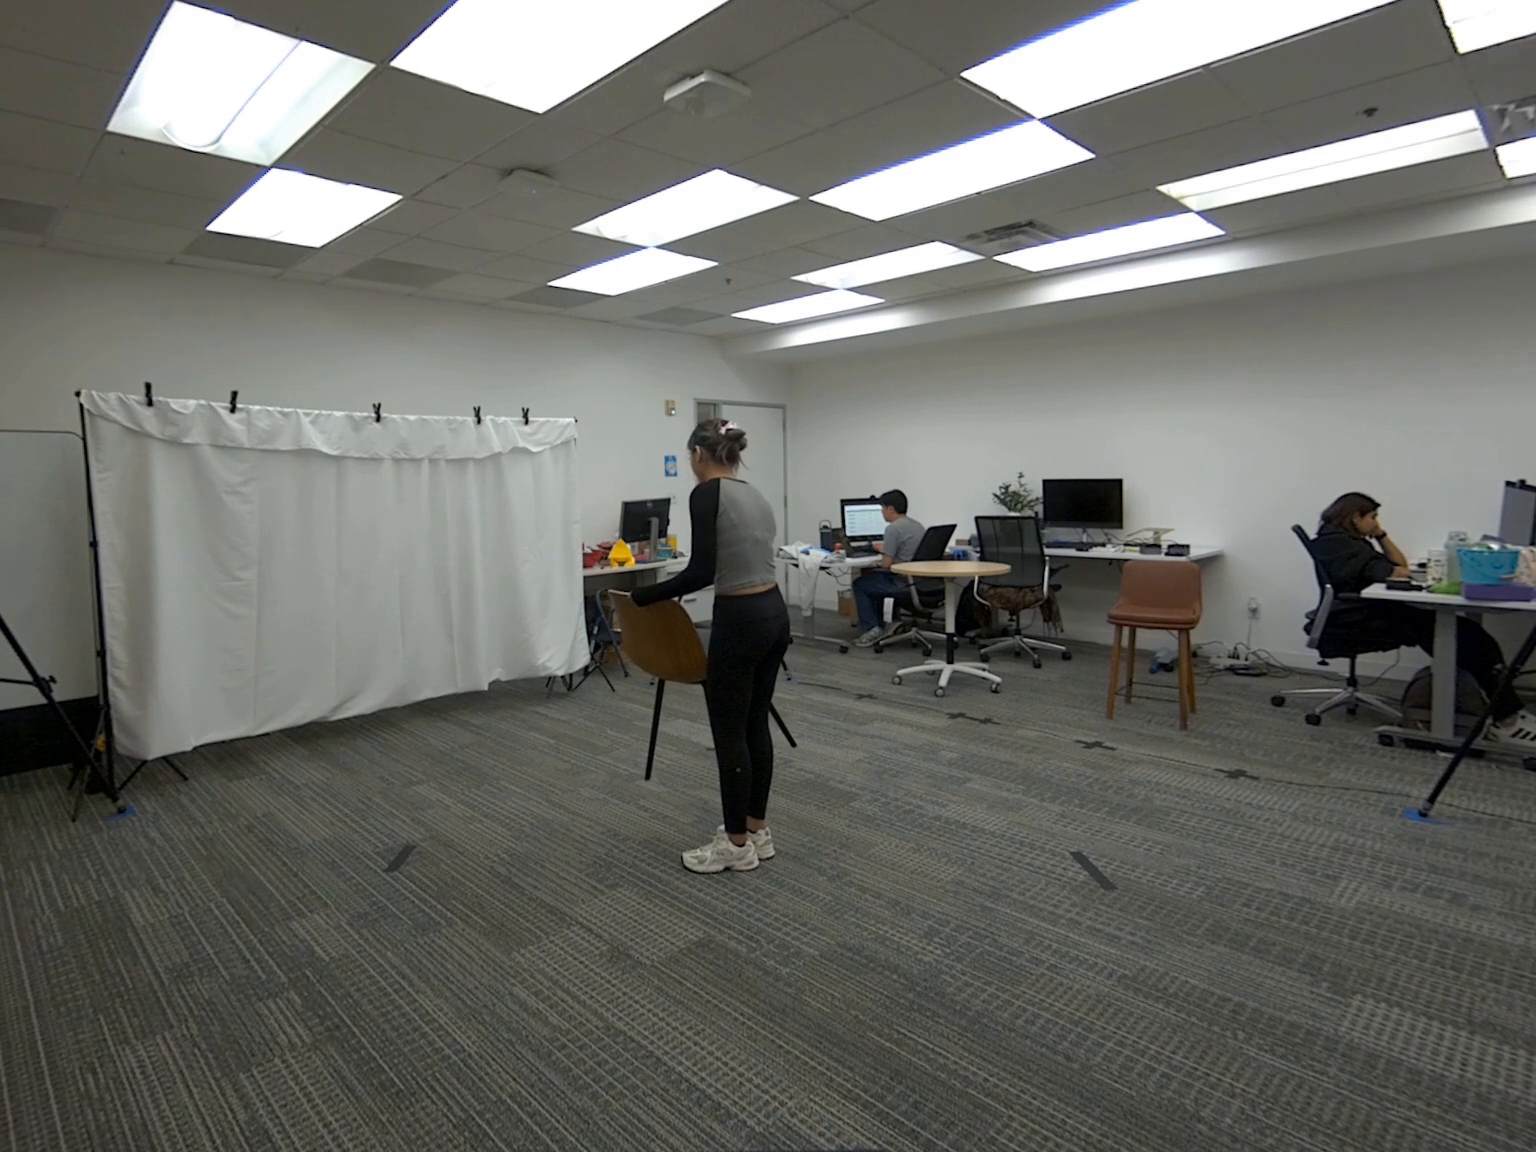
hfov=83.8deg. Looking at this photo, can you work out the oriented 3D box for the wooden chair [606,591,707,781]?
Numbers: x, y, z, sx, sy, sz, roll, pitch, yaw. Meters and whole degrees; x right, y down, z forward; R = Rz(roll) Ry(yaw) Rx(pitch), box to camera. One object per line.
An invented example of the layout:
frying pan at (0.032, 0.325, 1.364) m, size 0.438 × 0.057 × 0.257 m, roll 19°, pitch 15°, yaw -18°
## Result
wooden chair at (-0.269, 0.366, 3.410) m, size 0.492 × 0.862 × 0.517 m, roll 1°, pitch 22°, yaw 40°
